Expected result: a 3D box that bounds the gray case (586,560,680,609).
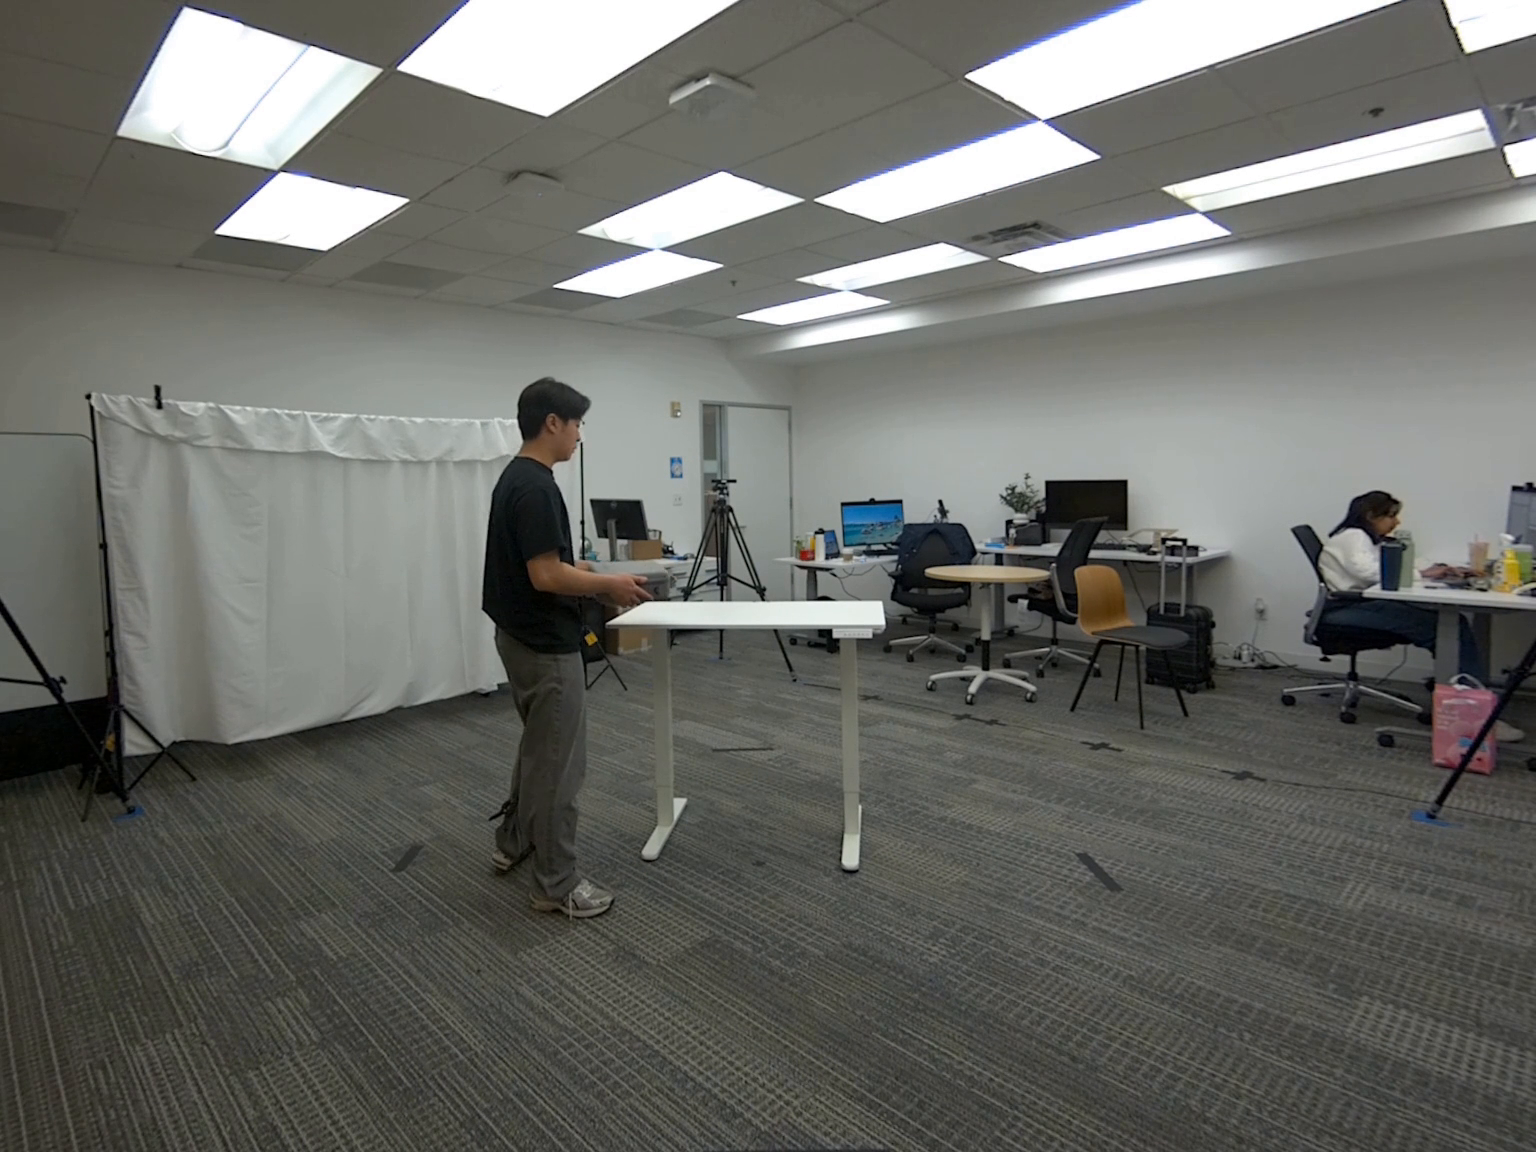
[{"bbox_3d":[-0.469,0.023,2.920,0.259,0.102,0.294,-4,10,-19],"label":"gray case"}]
